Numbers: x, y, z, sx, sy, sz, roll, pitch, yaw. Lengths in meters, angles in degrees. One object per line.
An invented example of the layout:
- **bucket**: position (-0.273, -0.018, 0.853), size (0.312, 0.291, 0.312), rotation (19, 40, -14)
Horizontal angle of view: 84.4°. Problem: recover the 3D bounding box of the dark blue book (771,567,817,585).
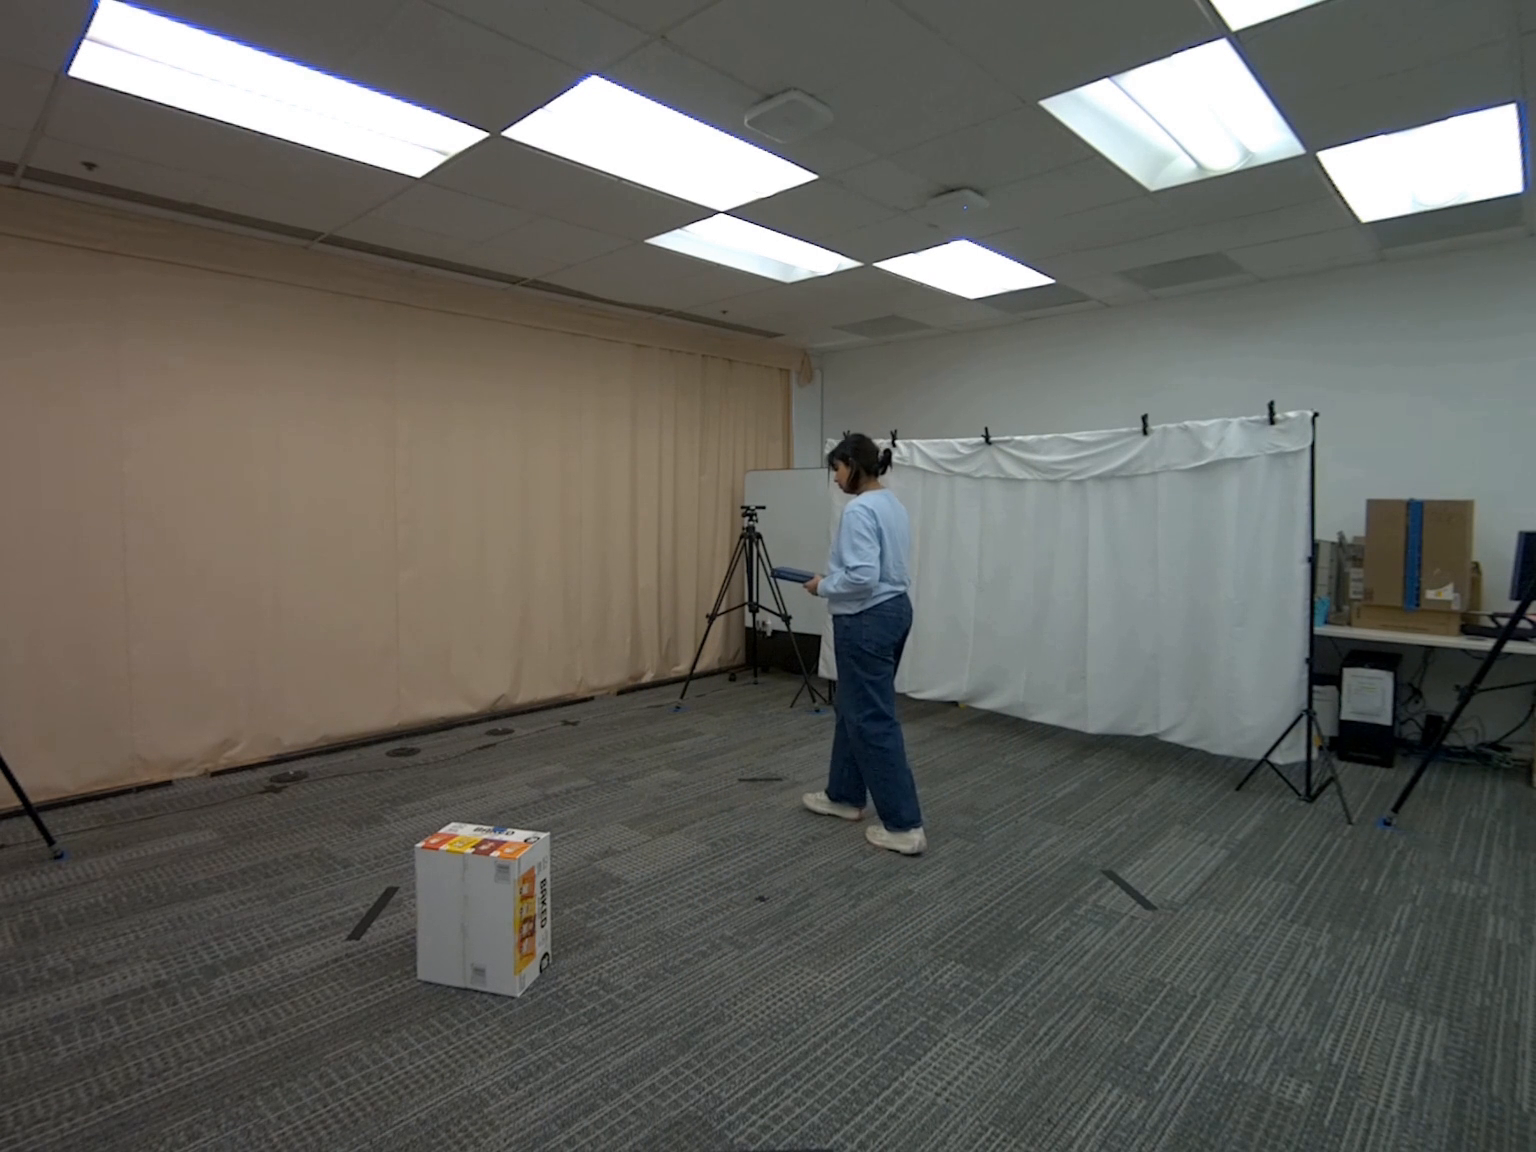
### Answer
- **dark blue book**: position (0.155, 0.005, 3.693), size (0.250, 0.045, 0.160), rotation (9, 6, 18)
